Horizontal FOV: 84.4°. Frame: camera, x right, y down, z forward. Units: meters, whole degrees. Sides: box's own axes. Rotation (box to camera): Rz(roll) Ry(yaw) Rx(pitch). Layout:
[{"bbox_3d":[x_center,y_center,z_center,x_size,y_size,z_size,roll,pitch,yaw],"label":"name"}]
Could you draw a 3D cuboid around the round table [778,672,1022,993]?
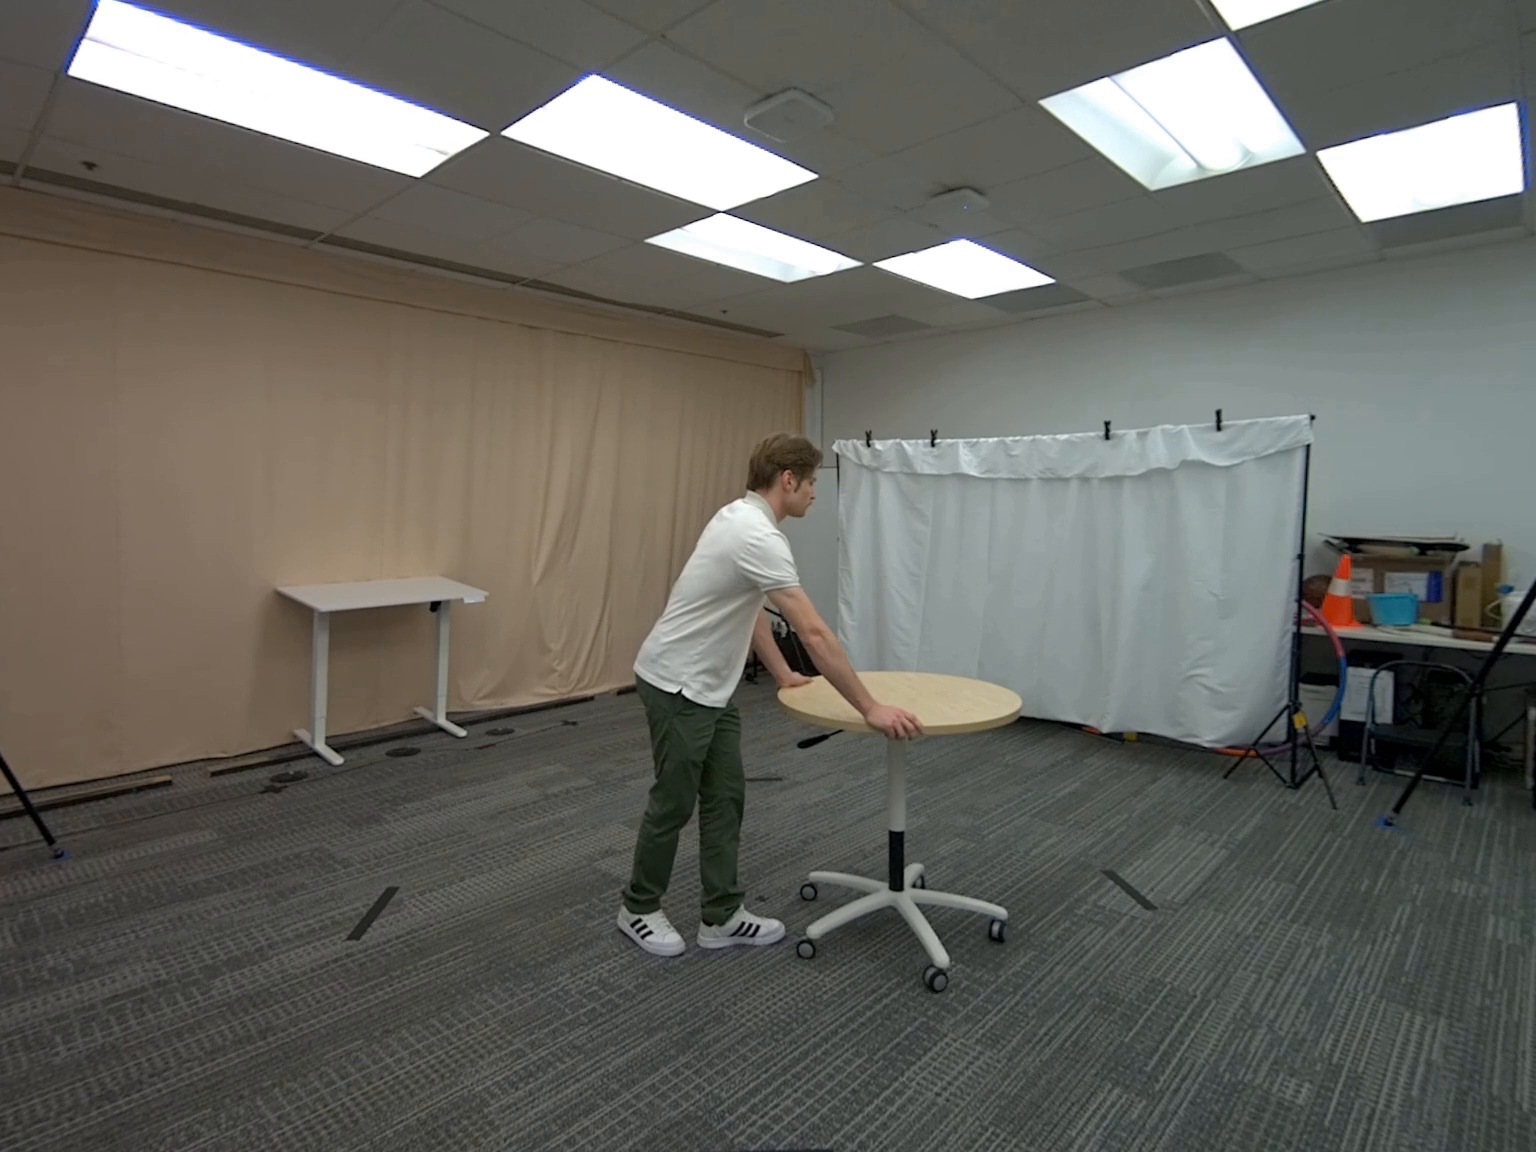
[{"bbox_3d":[0.427,0.777,2.734,0.763,0.792,0.767,-1,4,-2],"label":"round table"}]
